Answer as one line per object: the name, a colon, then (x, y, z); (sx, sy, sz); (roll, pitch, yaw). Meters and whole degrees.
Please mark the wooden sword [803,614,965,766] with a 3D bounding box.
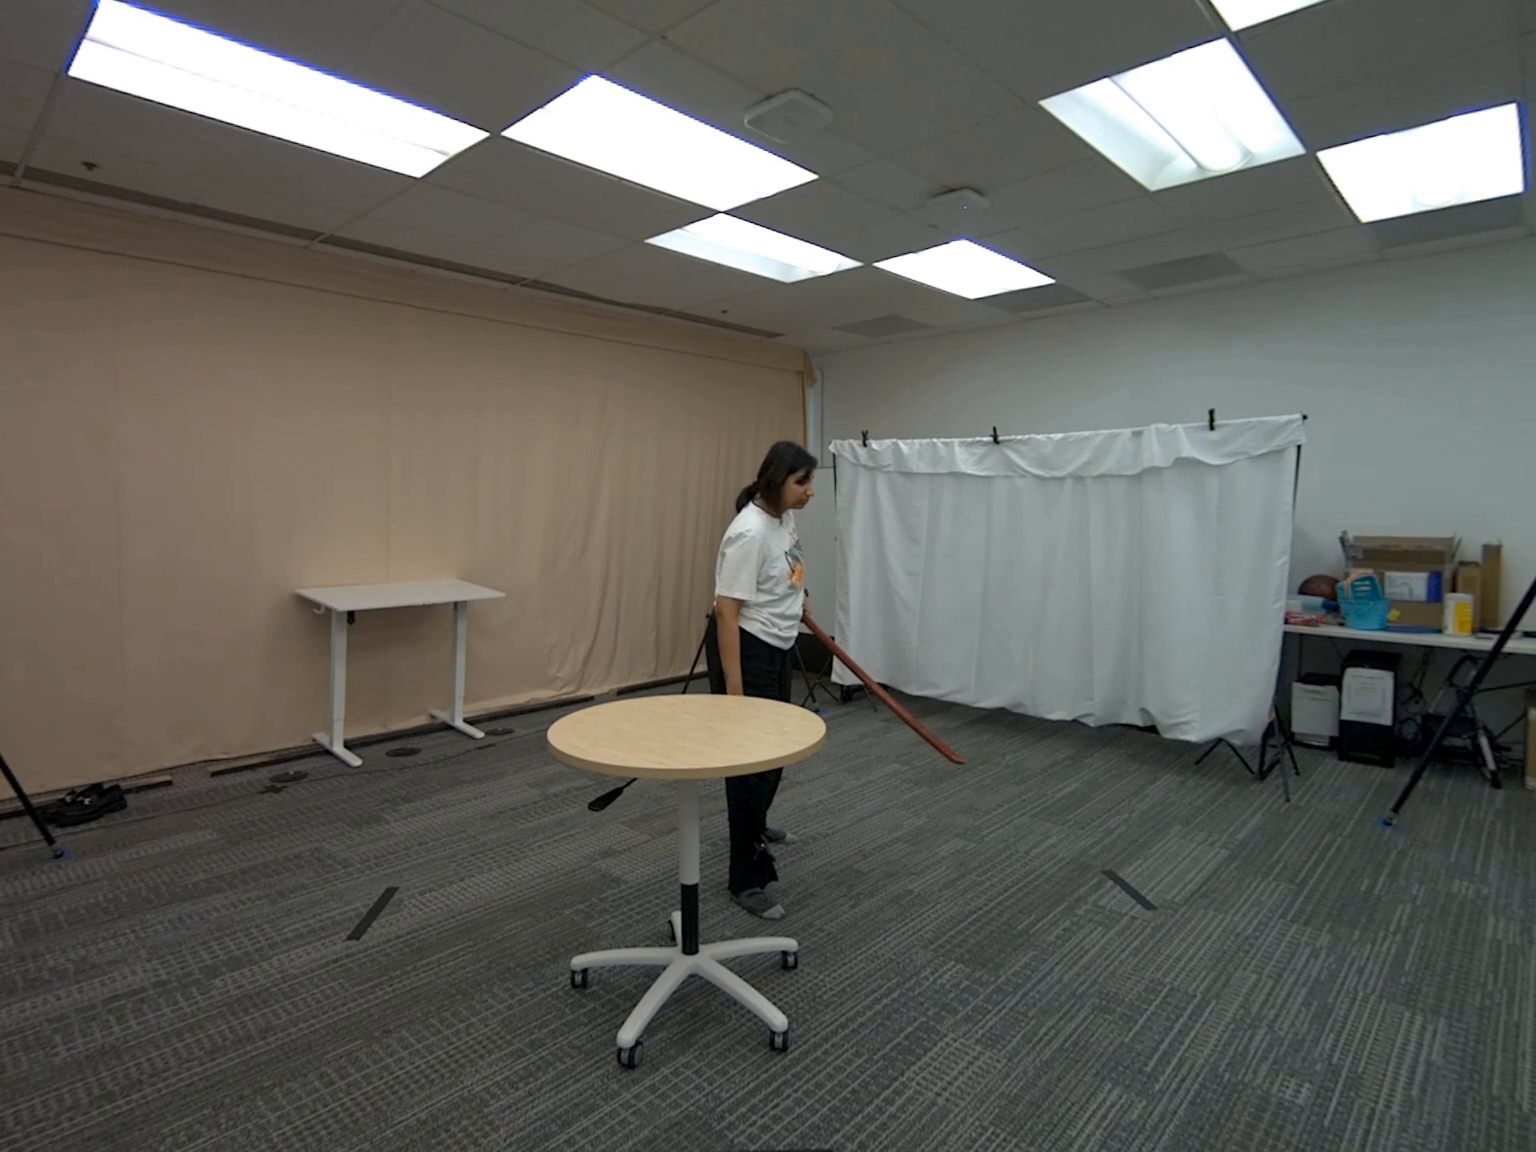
wooden sword: (0.389, 0.354, 3.005); (0.023, 0.051, 1.062); (24, 12, -39)
